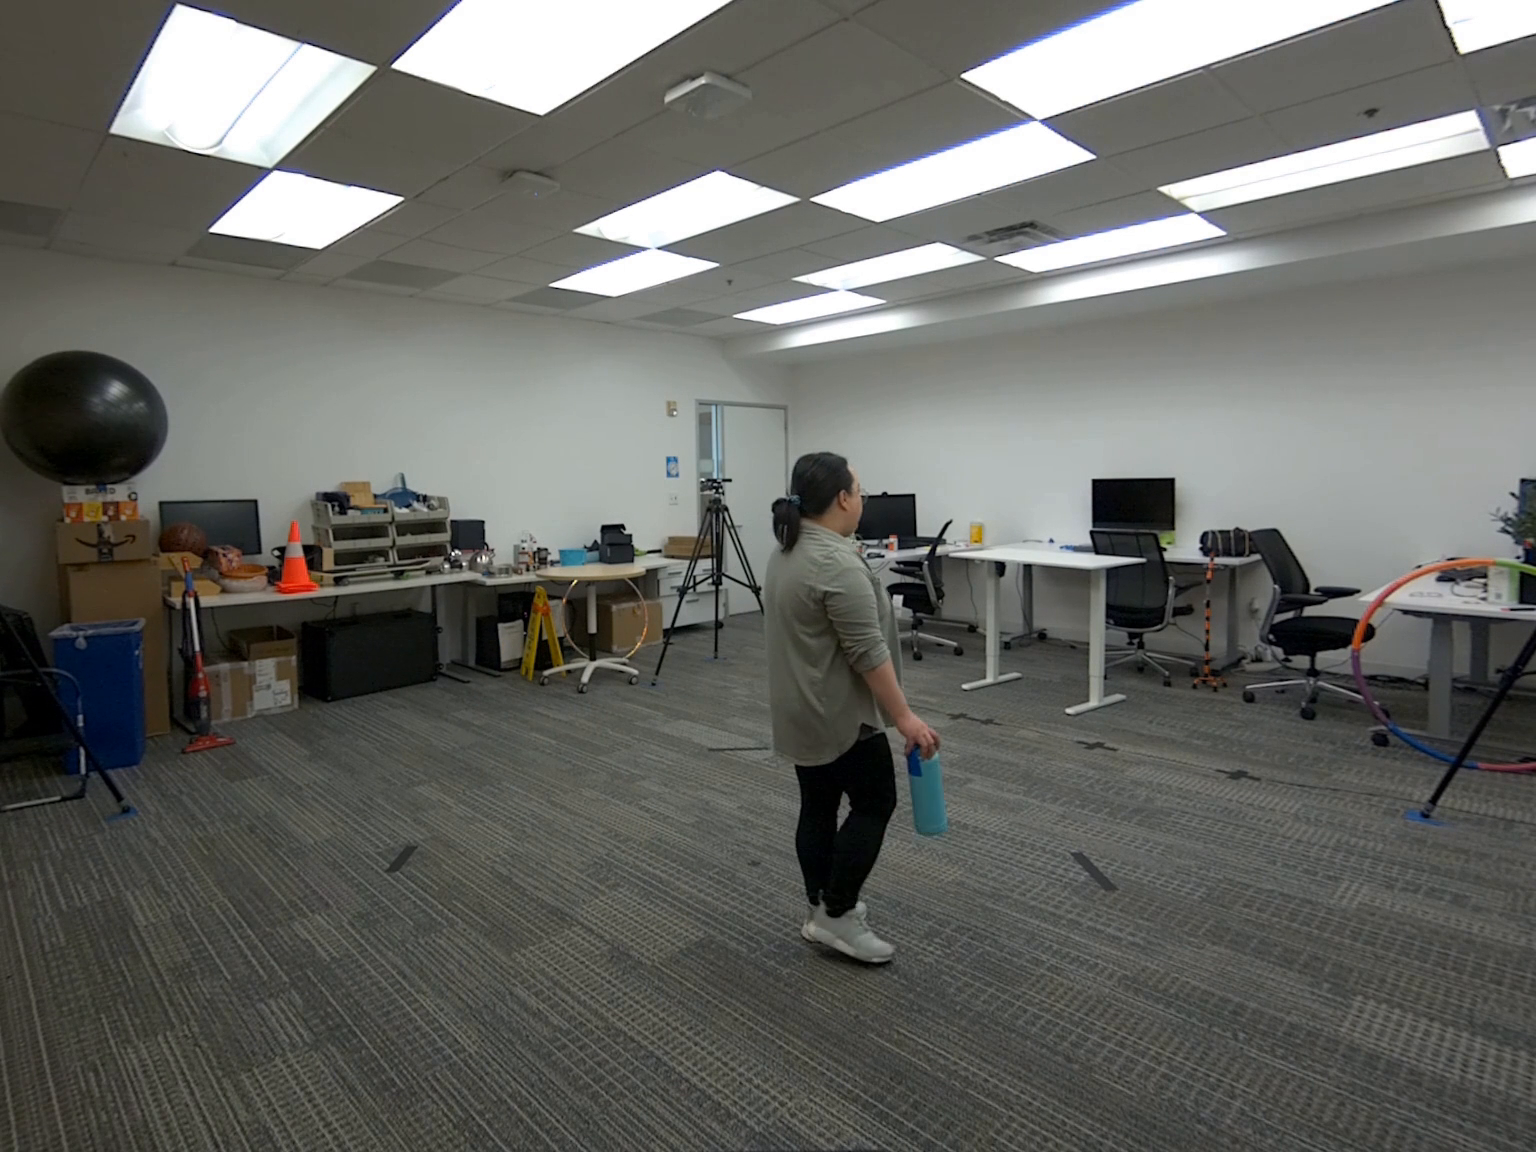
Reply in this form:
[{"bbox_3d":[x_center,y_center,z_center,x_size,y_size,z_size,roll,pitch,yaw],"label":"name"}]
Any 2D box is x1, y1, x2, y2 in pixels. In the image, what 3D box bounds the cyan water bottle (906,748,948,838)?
[{"bbox_3d":[0.430,0.577,2.374,0.092,0.281,0.093,-7,7,-1],"label":"cyan water bottle"}]
